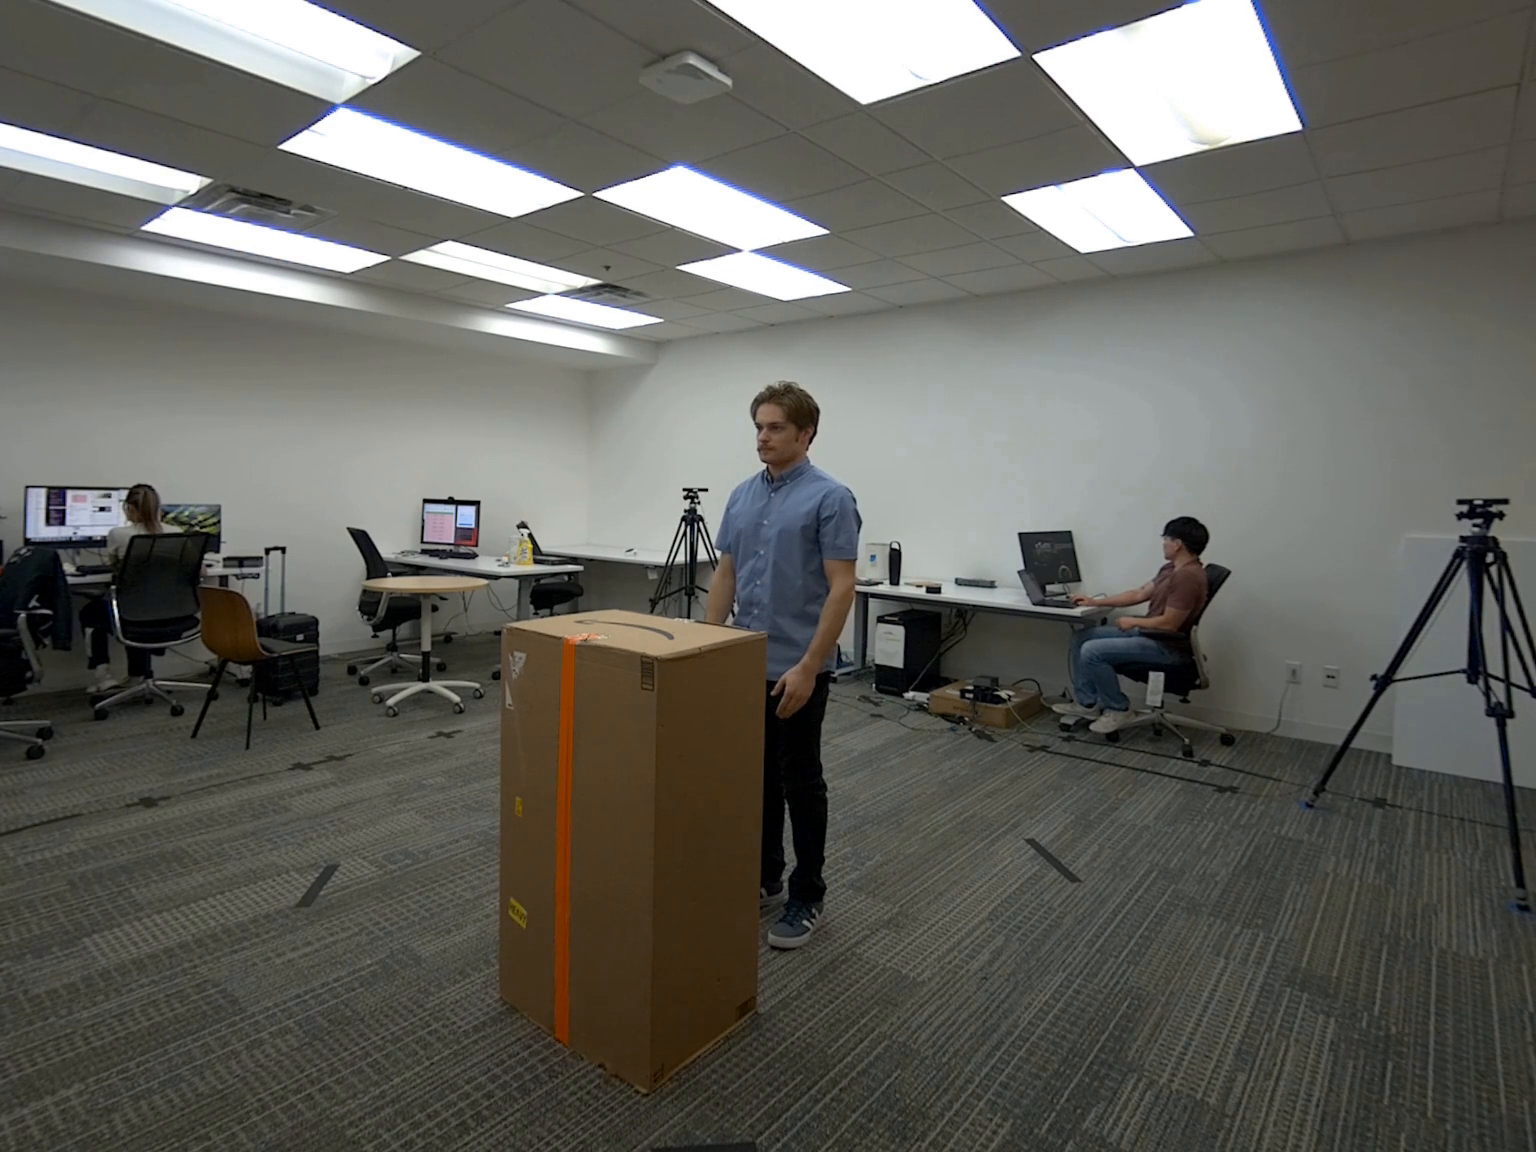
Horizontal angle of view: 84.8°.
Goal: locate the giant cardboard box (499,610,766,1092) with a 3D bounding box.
[{"bbox_3d":[-0.374,0.645,2.248,0.597,1.023,0.413,4,4,38],"label":"giant cardboard box"}]
